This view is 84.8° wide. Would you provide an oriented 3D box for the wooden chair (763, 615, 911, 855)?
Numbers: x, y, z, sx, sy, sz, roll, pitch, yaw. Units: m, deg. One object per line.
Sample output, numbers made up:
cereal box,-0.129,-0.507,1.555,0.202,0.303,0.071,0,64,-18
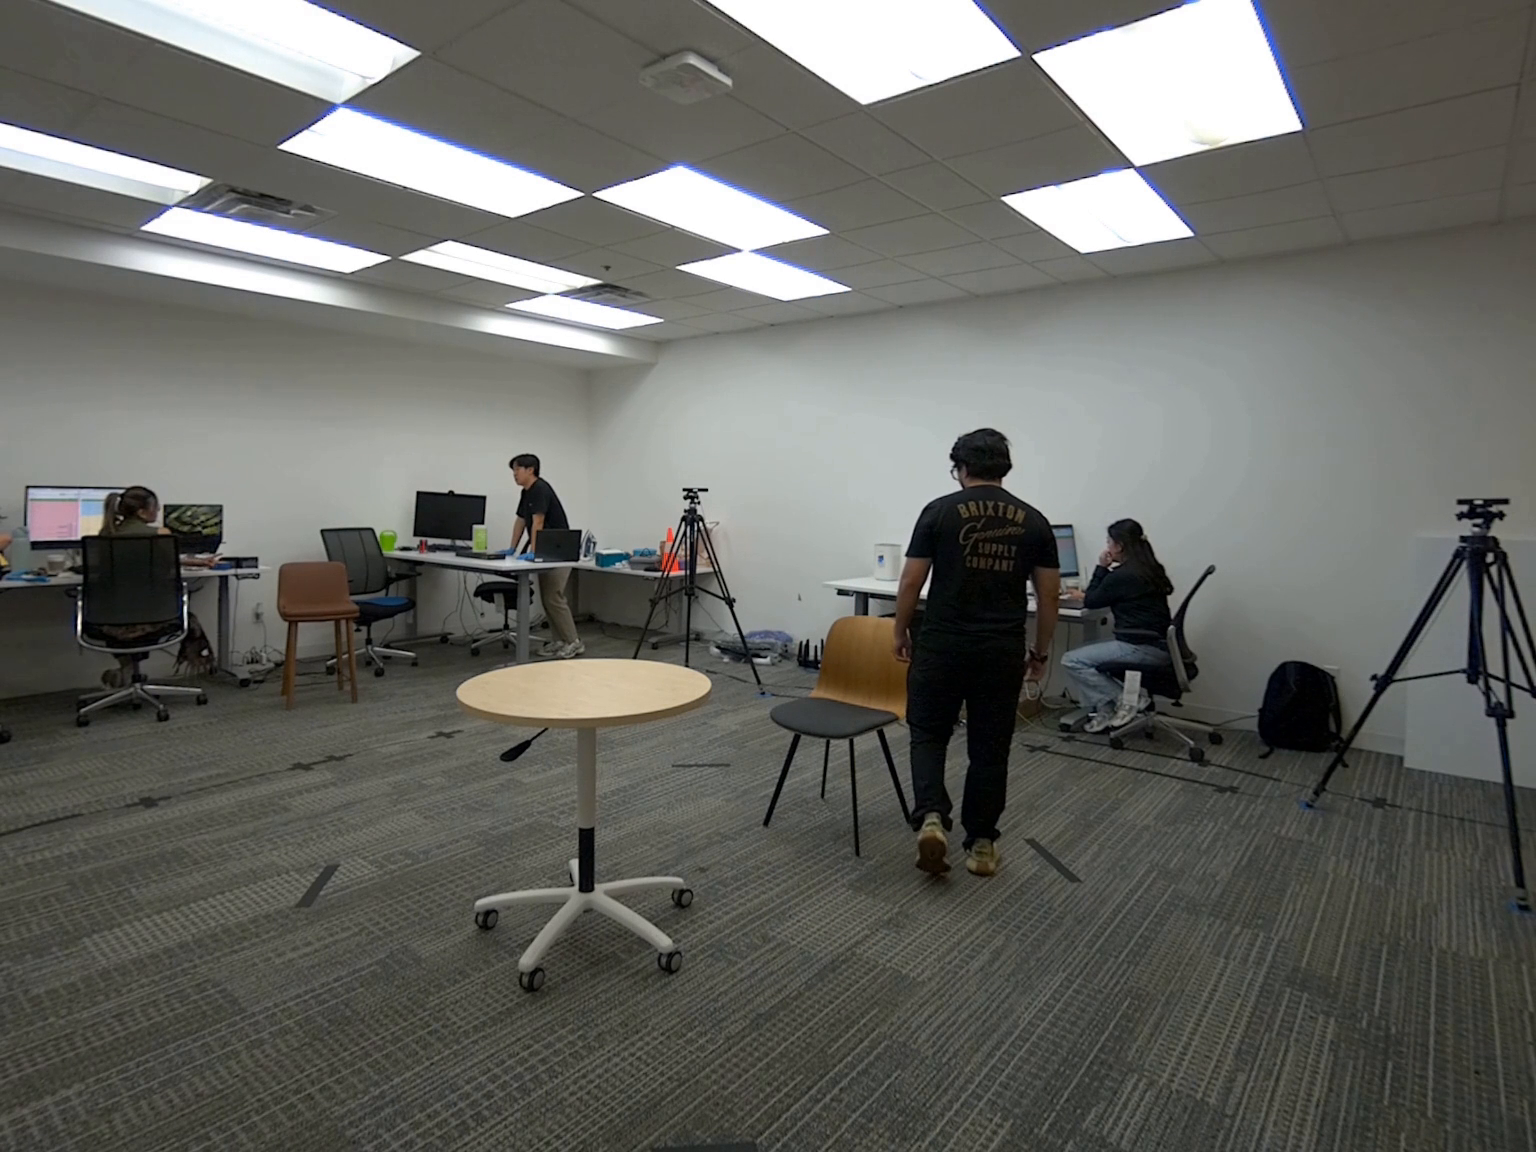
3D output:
wooden chair,0.289,0.611,3.527,0.494,0.877,0.506,5,0,38
